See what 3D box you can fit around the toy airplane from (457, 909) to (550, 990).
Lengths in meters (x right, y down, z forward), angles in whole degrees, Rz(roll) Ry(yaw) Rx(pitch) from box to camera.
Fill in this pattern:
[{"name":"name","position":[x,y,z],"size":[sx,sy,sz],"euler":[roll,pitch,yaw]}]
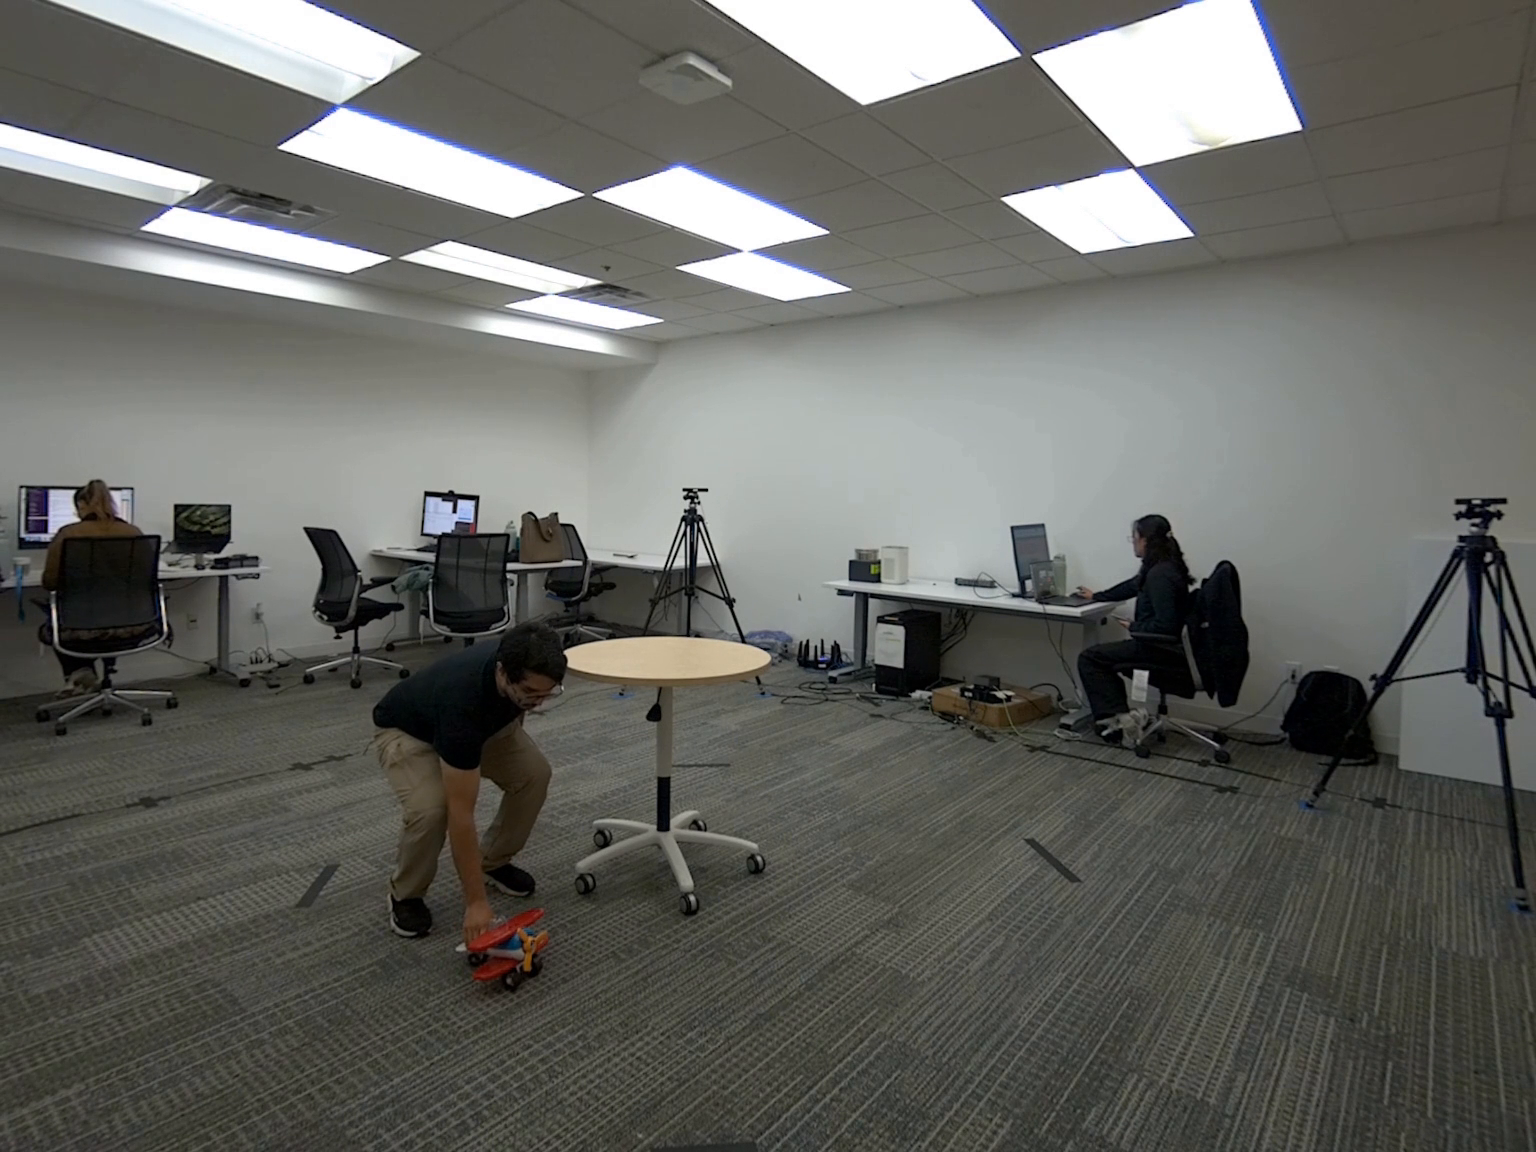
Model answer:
[{"name":"toy airplane","position":[-0.777,1.060,2.405],"size":[0.260,0.156,0.251],"euler":[3,5,3]}]
